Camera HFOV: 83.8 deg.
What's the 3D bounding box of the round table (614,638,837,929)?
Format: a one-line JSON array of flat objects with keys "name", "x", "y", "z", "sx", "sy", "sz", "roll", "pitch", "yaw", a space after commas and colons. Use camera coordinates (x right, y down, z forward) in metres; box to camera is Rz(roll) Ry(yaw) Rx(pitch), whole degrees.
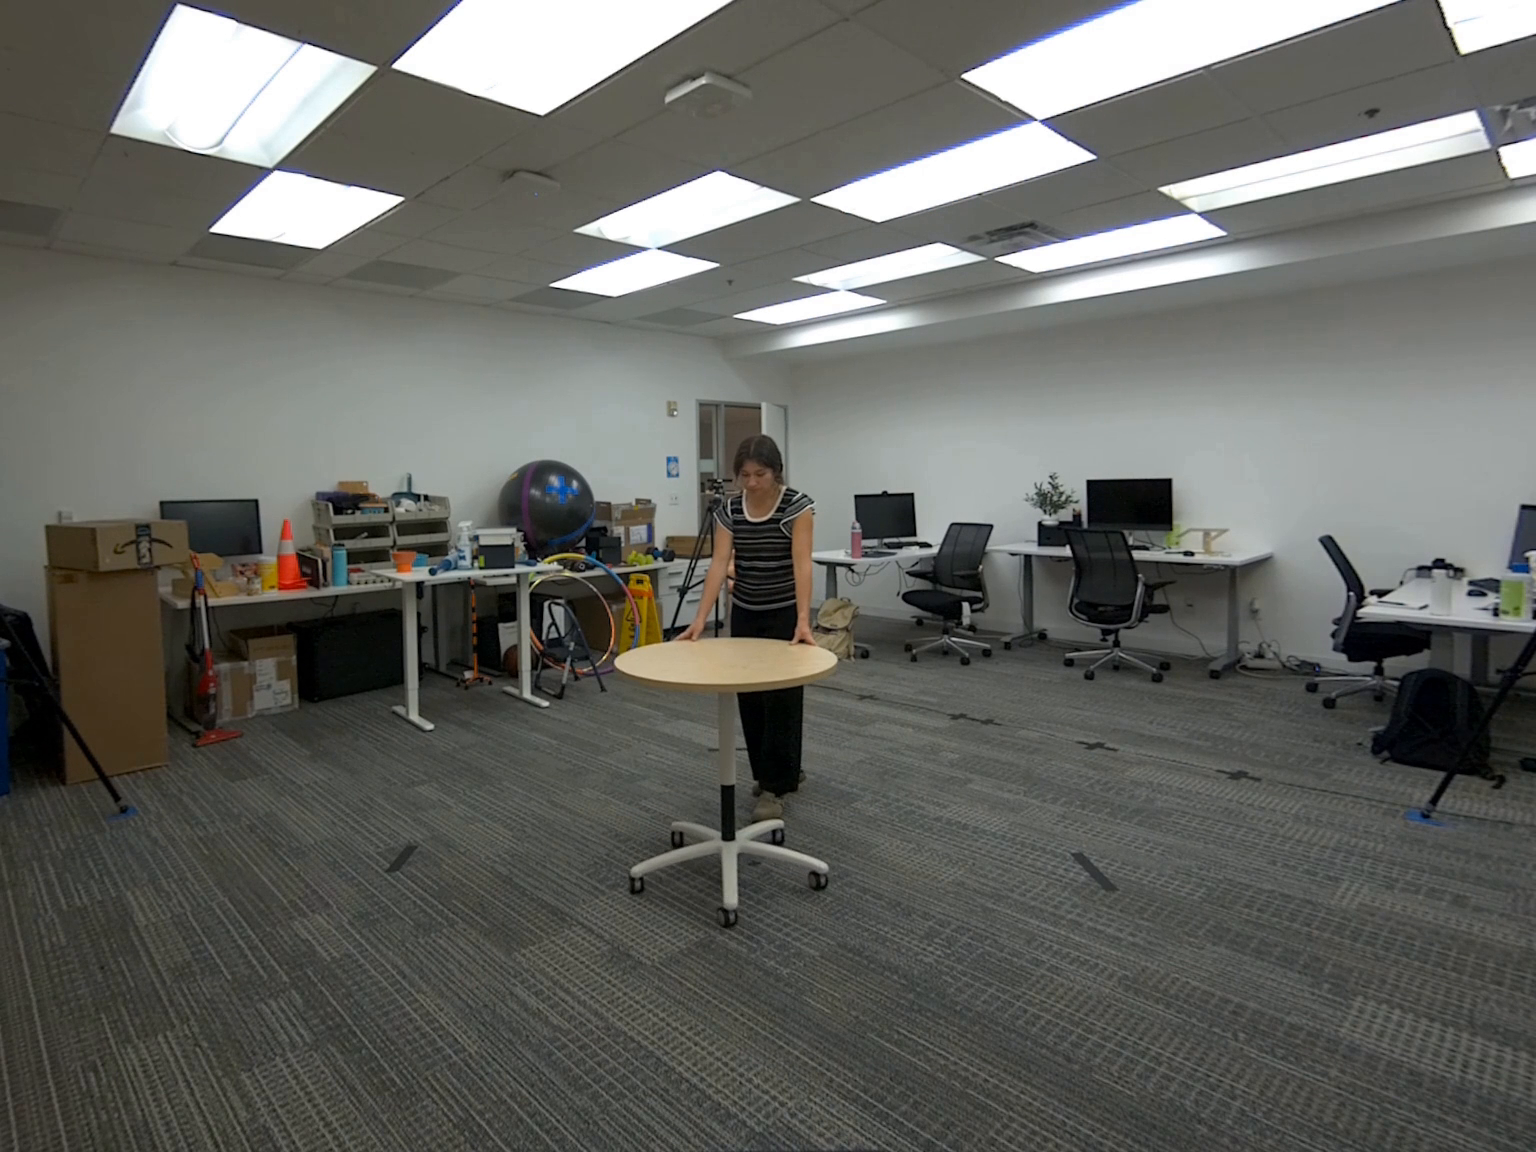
[{"name": "round table", "x": -0.140, "y": 0.676, "z": 2.971, "sx": 0.763, "sy": 0.791, "sz": 0.768, "roll": -1, "pitch": 5, "yaw": -2}]
